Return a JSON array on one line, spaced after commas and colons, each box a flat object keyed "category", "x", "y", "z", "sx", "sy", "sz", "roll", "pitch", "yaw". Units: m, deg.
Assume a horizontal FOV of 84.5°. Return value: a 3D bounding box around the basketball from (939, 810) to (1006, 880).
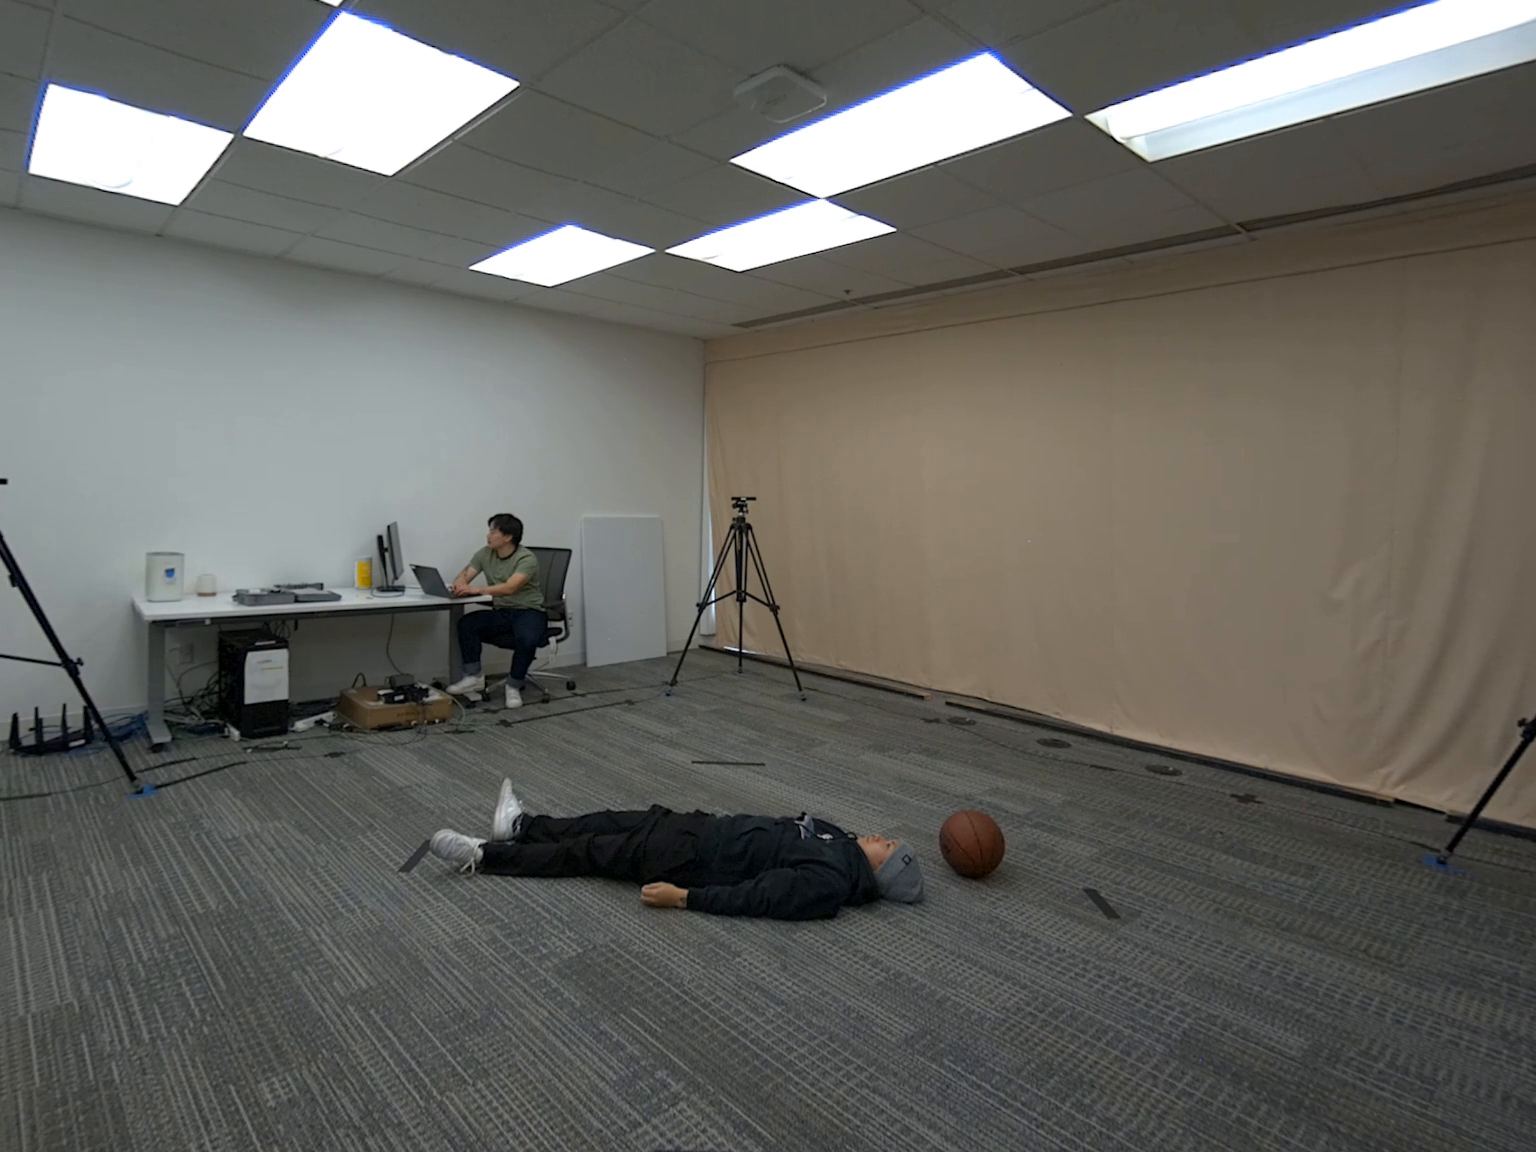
[{"category": "basketball", "x": 0.760, "y": 1.007, "z": 3.173, "sx": 0.236, "sy": 0.235, "sz": 0.237, "roll": 1, "pitch": 4, "yaw": -1}]
